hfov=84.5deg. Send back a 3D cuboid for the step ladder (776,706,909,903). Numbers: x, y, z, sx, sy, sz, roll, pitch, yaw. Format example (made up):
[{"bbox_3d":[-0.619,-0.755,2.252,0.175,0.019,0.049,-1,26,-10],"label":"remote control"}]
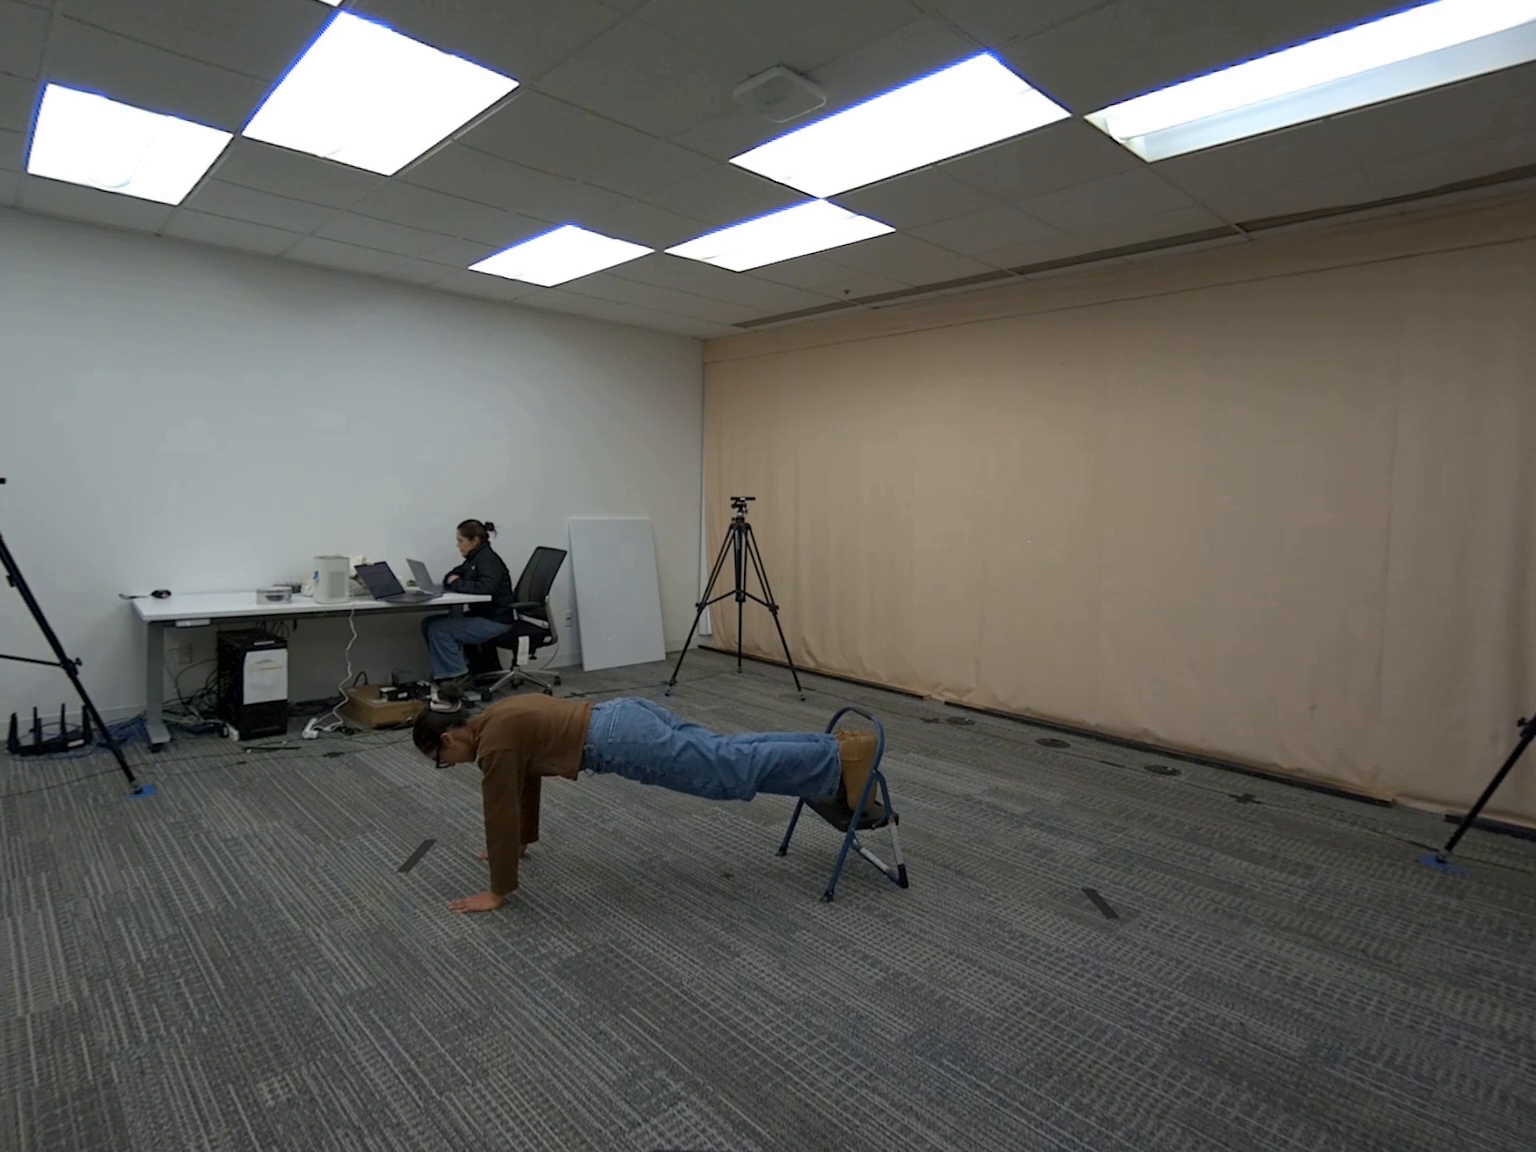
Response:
[{"bbox_3d":[0.275,0.812,3.156,0.343,0.605,0.439,0,4,-23],"label":"step ladder"}]
